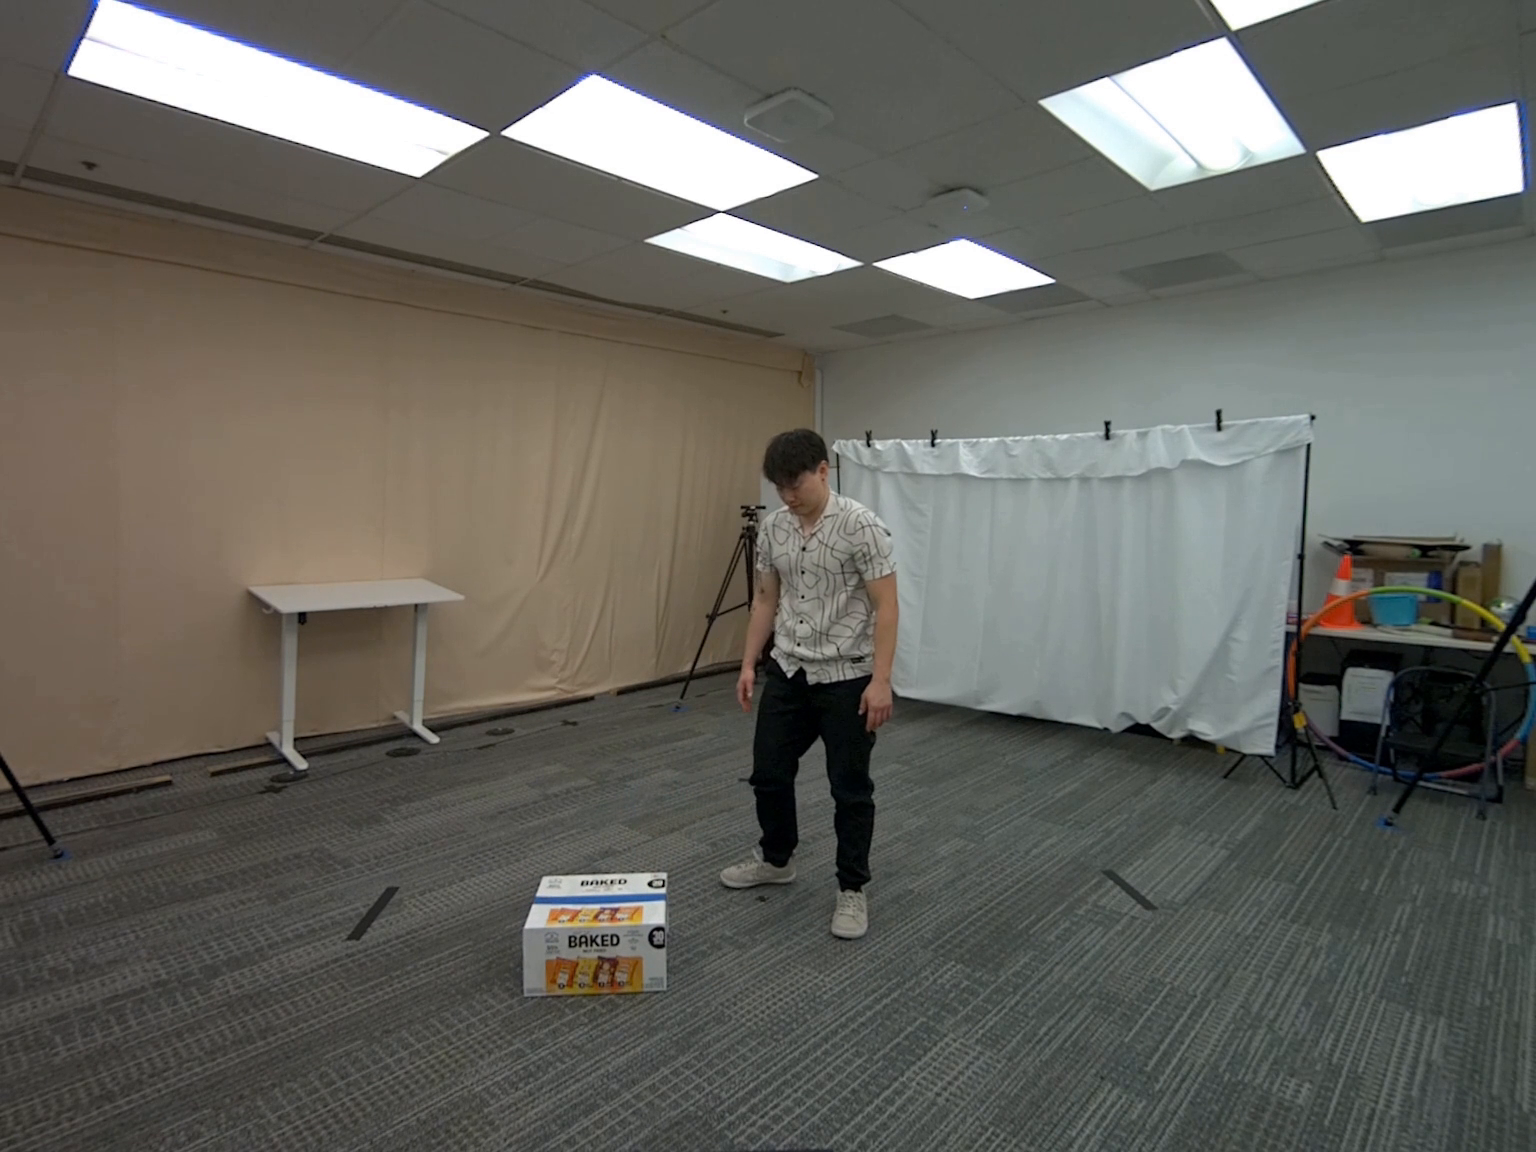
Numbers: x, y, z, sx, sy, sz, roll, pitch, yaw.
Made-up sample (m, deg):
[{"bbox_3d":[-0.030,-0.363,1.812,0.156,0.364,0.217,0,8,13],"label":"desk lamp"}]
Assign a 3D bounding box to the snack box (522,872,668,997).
[{"bbox_3d":[-0.511,1.082,2.554,0.404,0.205,0.342,-1,4,-4],"label":"snack box"}]
